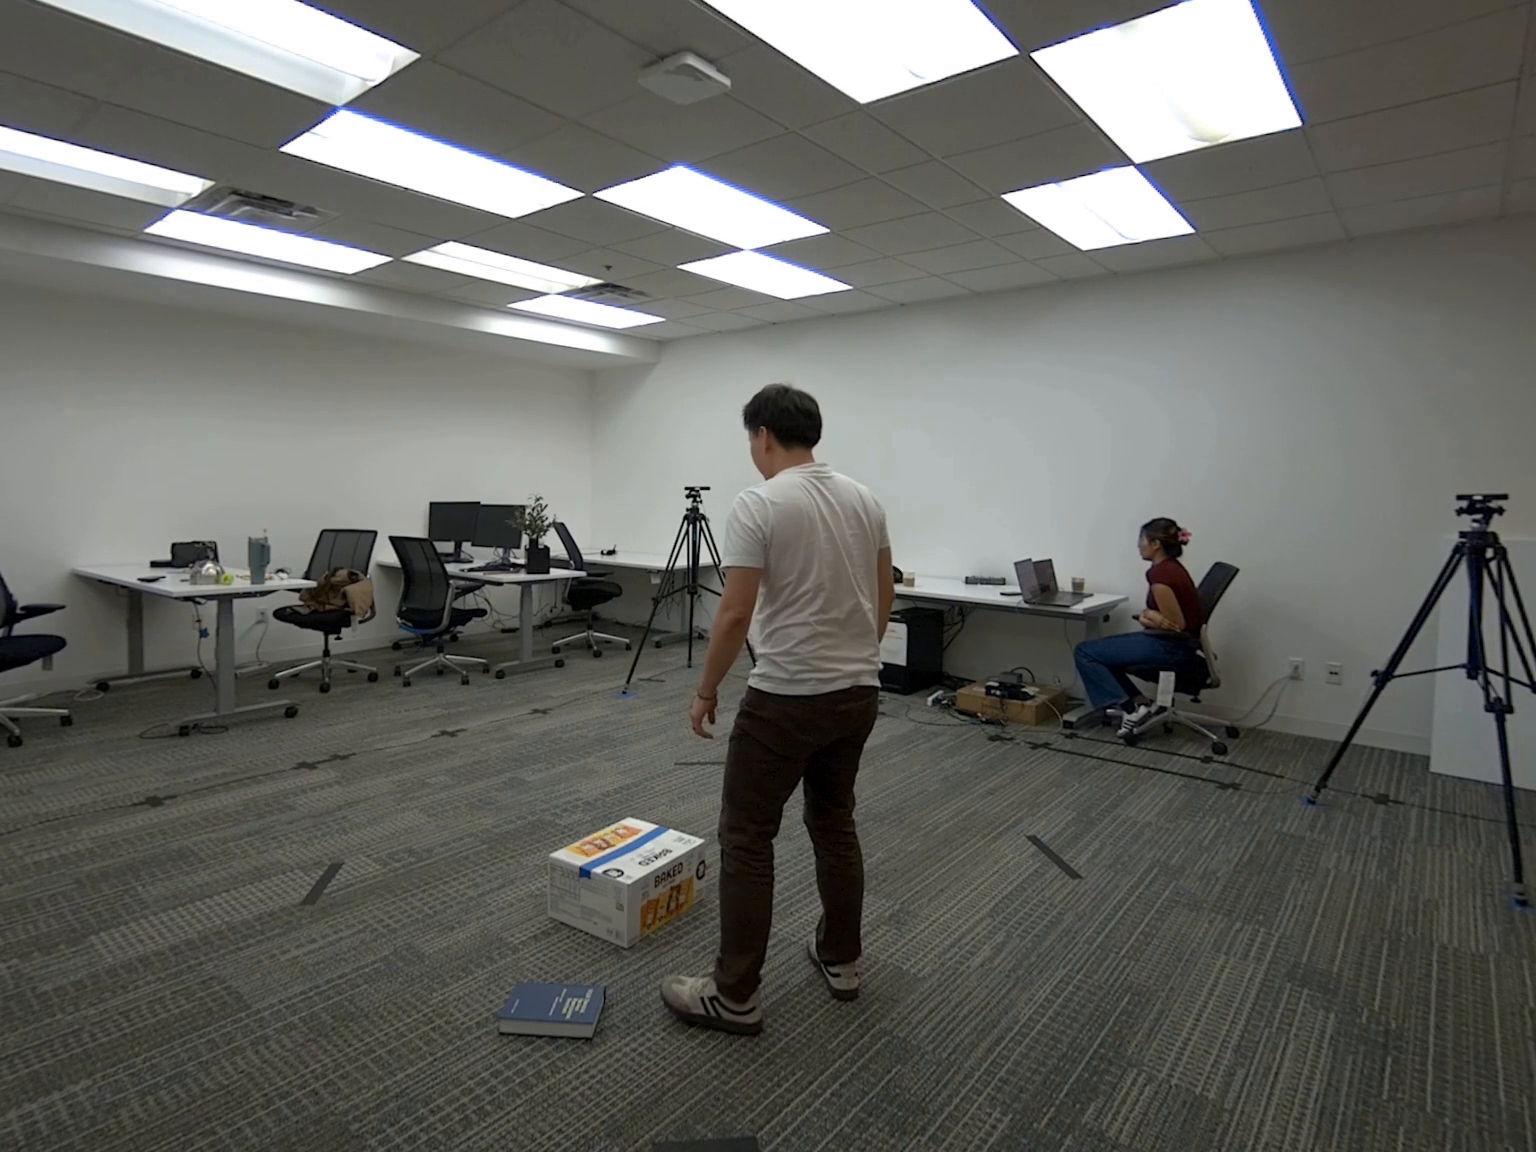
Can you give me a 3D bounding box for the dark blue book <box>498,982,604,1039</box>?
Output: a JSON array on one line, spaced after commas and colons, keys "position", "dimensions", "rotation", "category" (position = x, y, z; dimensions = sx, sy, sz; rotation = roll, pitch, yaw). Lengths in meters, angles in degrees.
[{"position": [-0.567, 1.127, 2.219], "dimensions": [0.246, 0.045, 0.163], "rotation": [1, 6, 3], "category": "dark blue book"}]
